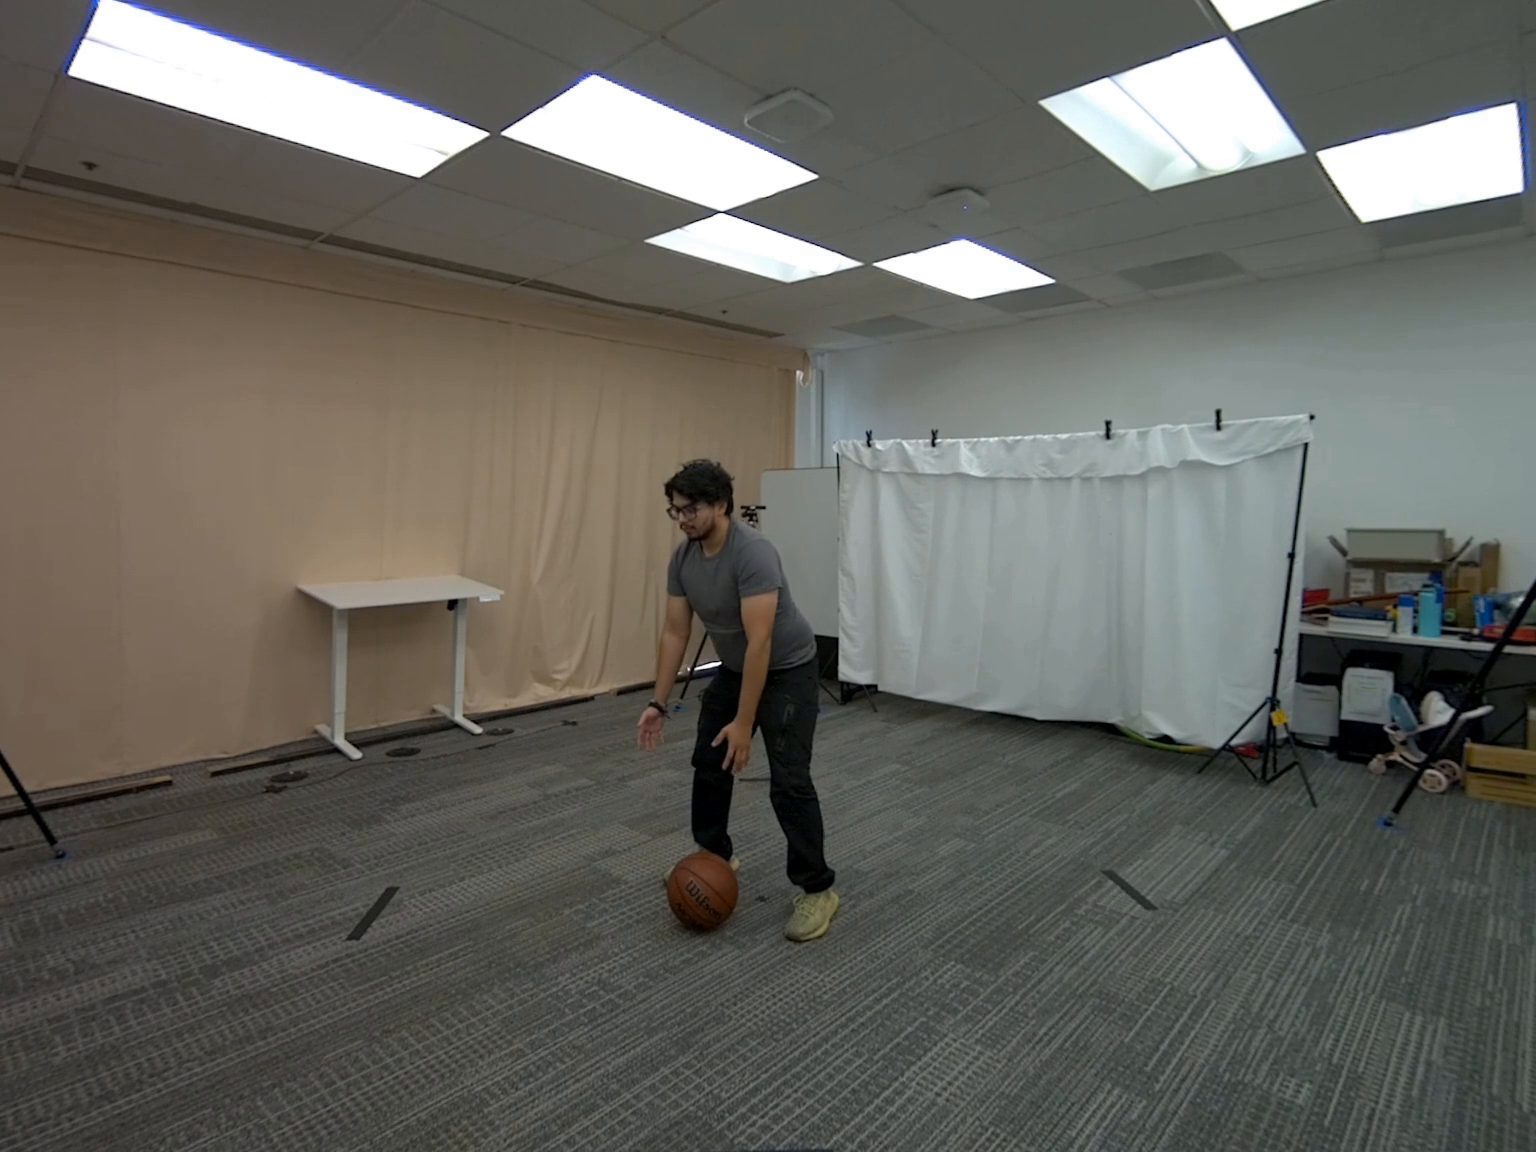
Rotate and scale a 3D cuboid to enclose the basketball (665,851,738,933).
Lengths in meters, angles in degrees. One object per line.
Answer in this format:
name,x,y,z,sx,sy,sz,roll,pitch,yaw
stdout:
basketball,-0.218,1.037,2.790,0.236,0.235,0.237,0,4,-2
